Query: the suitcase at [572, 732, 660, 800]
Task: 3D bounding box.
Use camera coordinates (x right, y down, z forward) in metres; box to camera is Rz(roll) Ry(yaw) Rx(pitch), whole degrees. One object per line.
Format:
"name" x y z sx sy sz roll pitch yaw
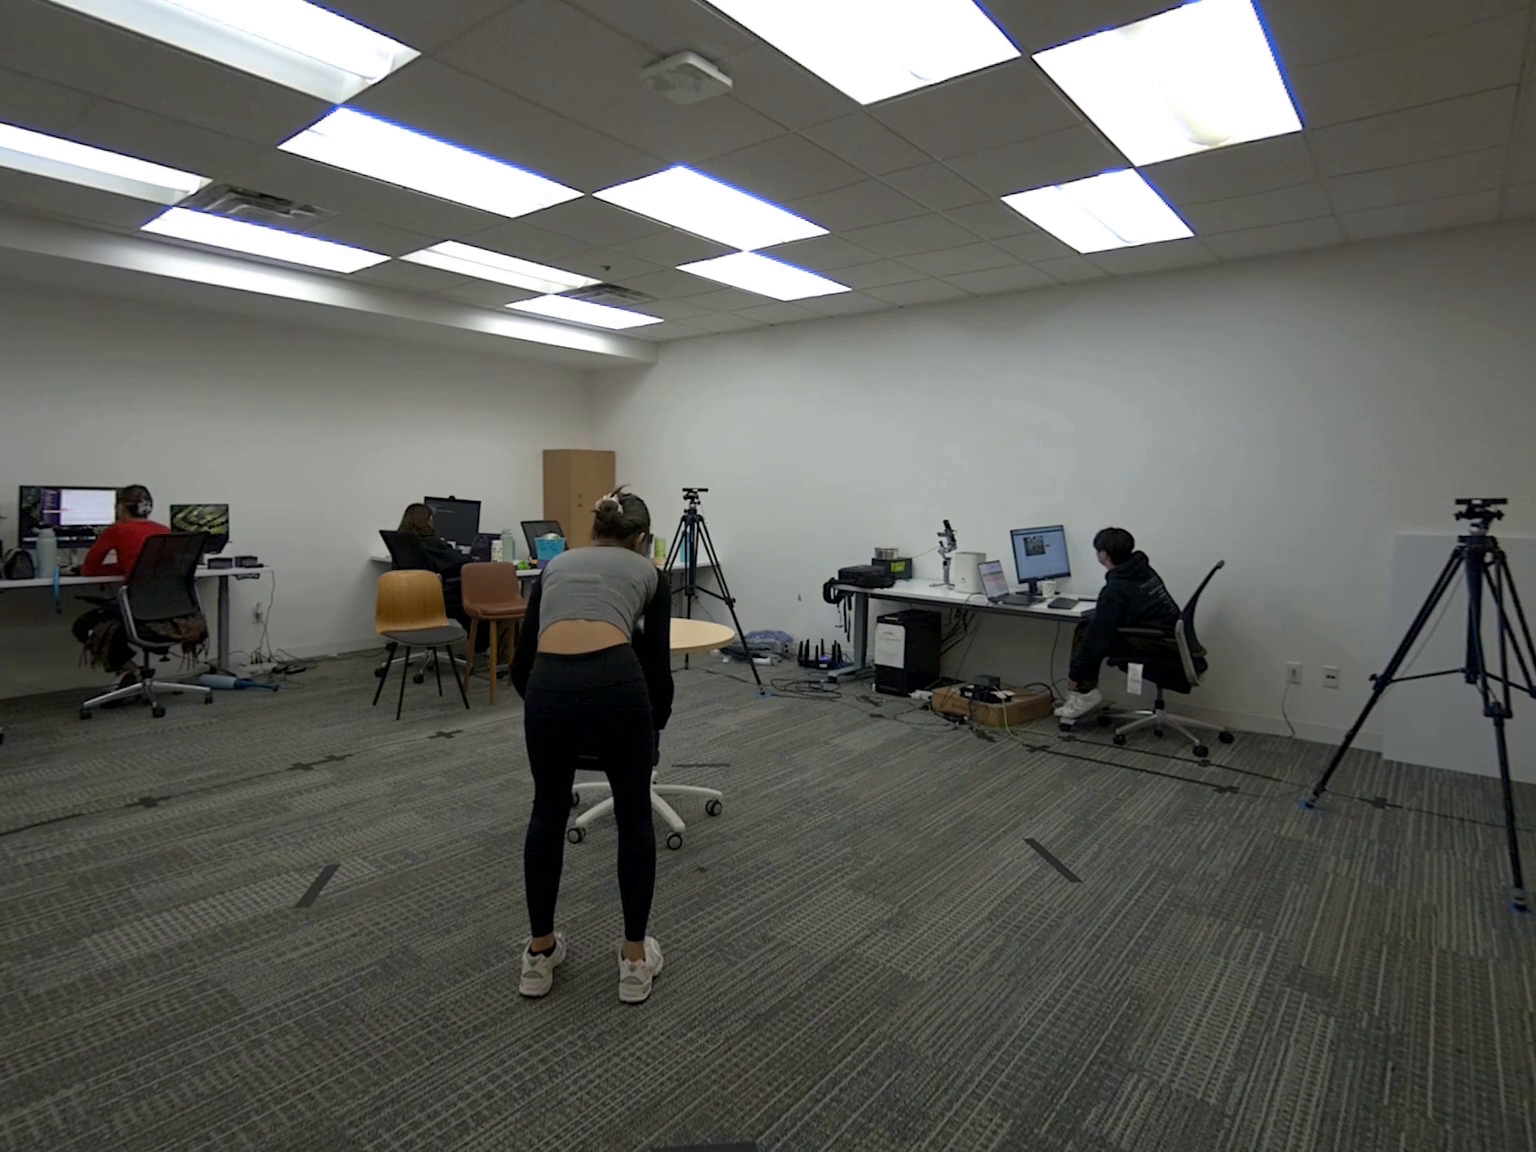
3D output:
"suitcase" -0.529 0.369 2.734 0.378 0.546 0.248 4 6 6
